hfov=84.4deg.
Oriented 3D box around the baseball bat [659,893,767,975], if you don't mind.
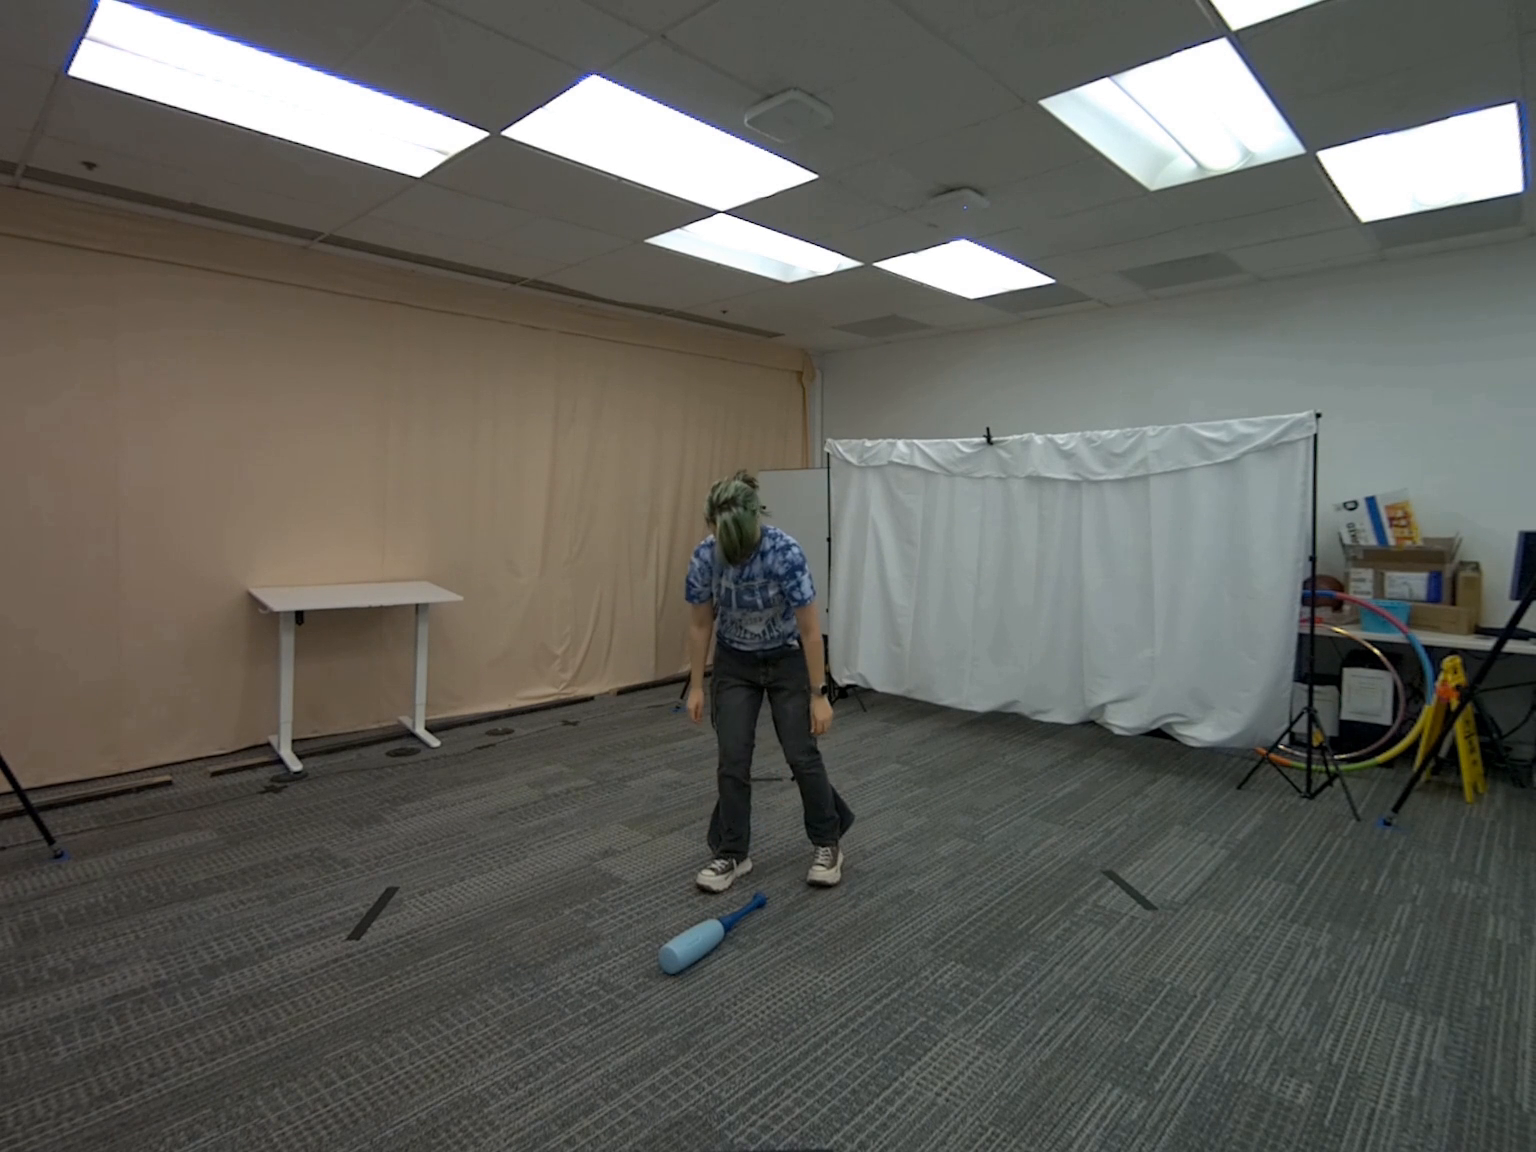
[{"bbox_3d":[-0.155,1.132,2.710,0.092,0.089,0.527,2,3,31],"label":"baseball bat"}]
